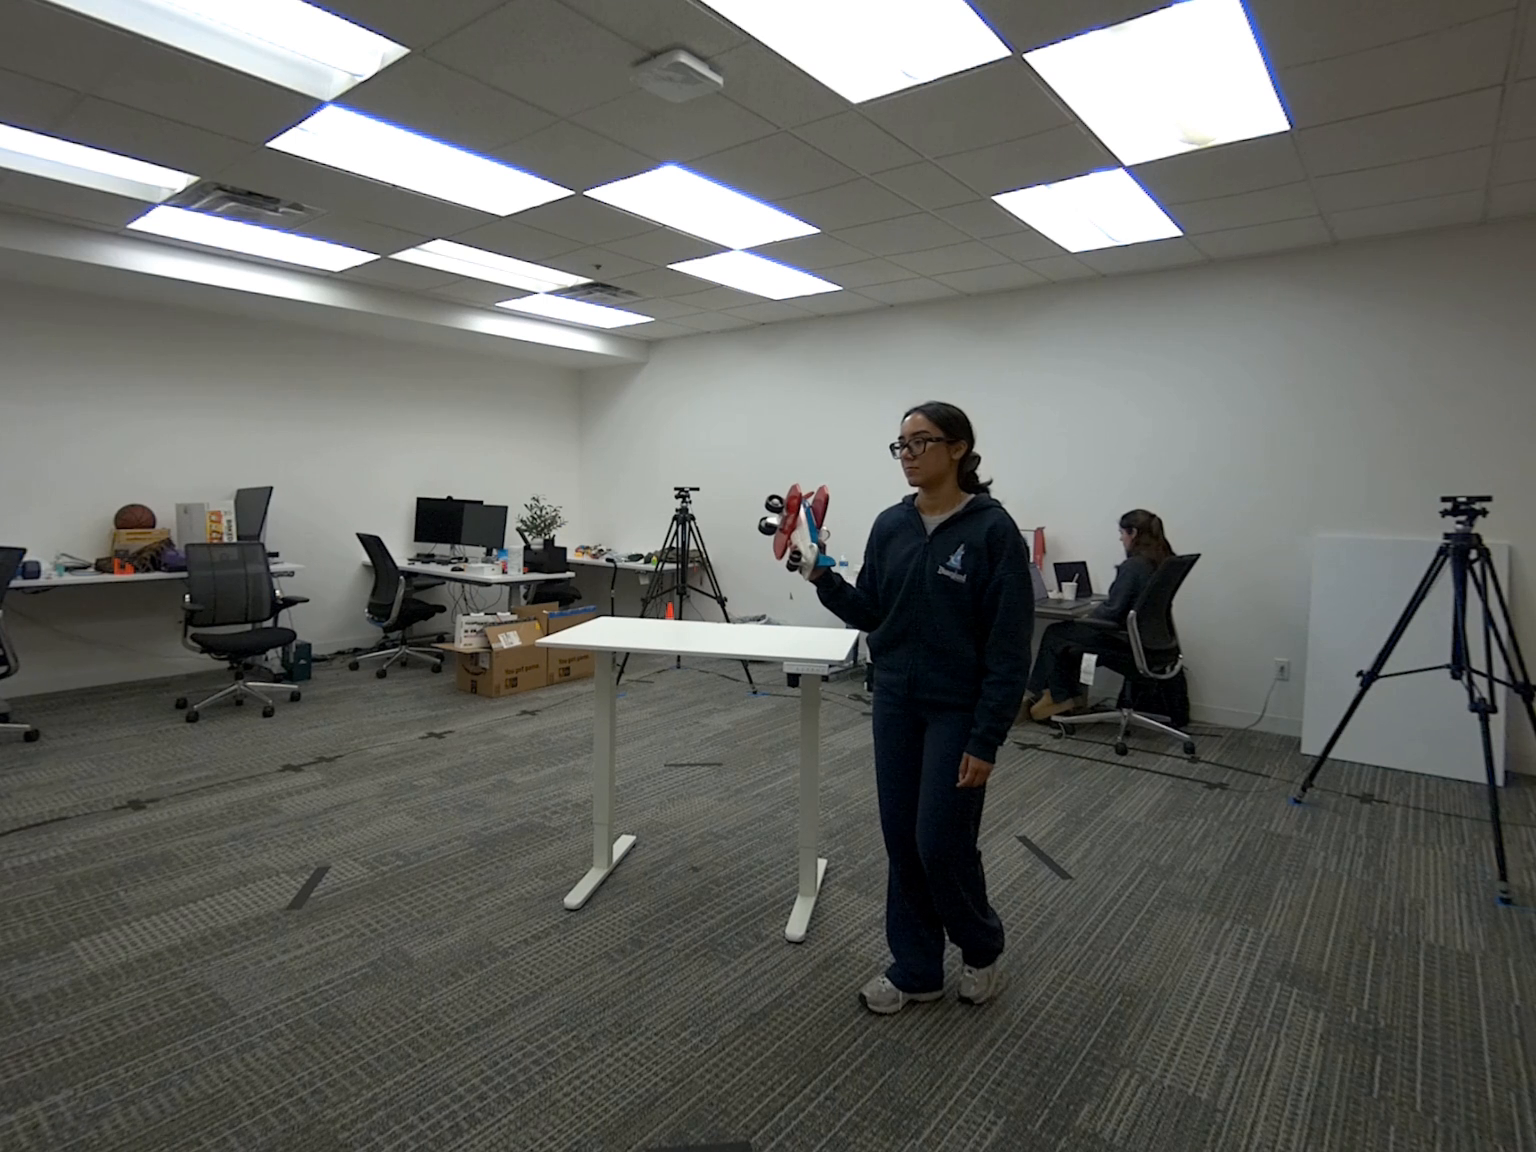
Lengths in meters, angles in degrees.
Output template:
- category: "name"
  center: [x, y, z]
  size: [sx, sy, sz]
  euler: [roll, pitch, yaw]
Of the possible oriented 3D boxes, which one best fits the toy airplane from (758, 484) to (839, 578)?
- category: "toy airplane"
  center: [0.084, -0.107, 2.354]
  size: [0.153, 0.263, 0.252]
  euler: [-9, -14, -25]
